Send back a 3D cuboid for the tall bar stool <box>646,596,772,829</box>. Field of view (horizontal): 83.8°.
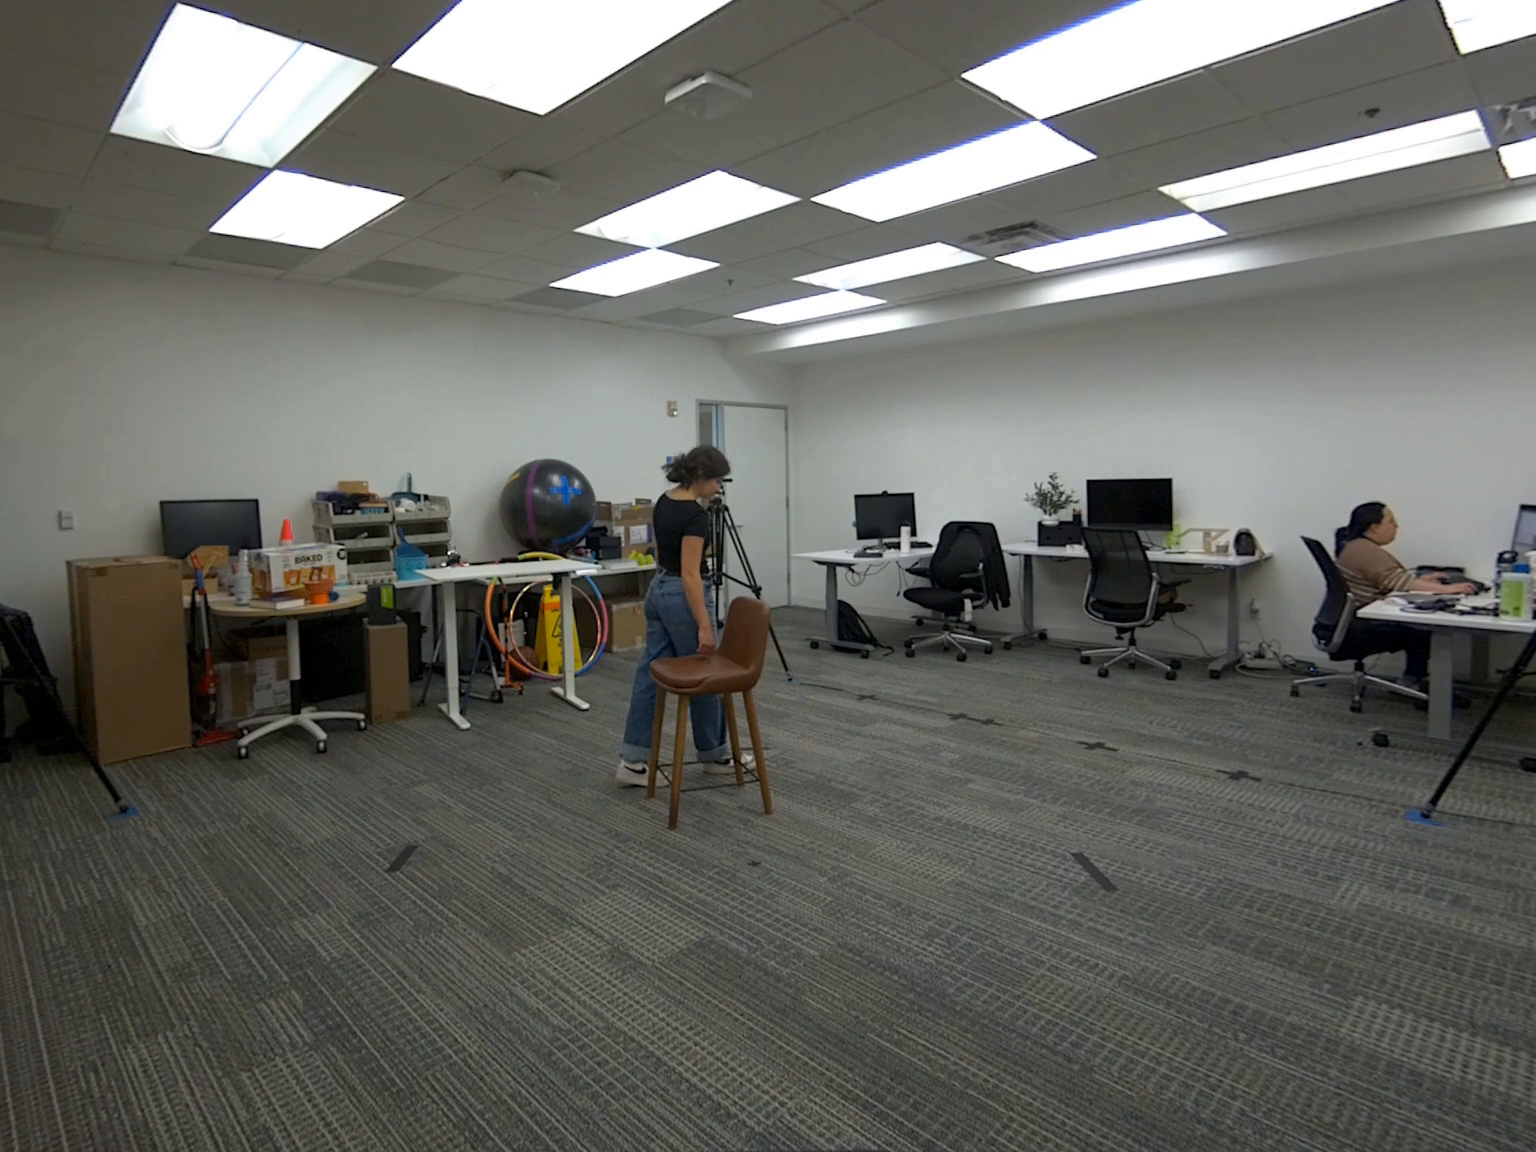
[{"bbox_3d":[-0.255,0.553,3.650,0.459,0.887,0.466,-1,3,-20],"label":"tall bar stool"}]
